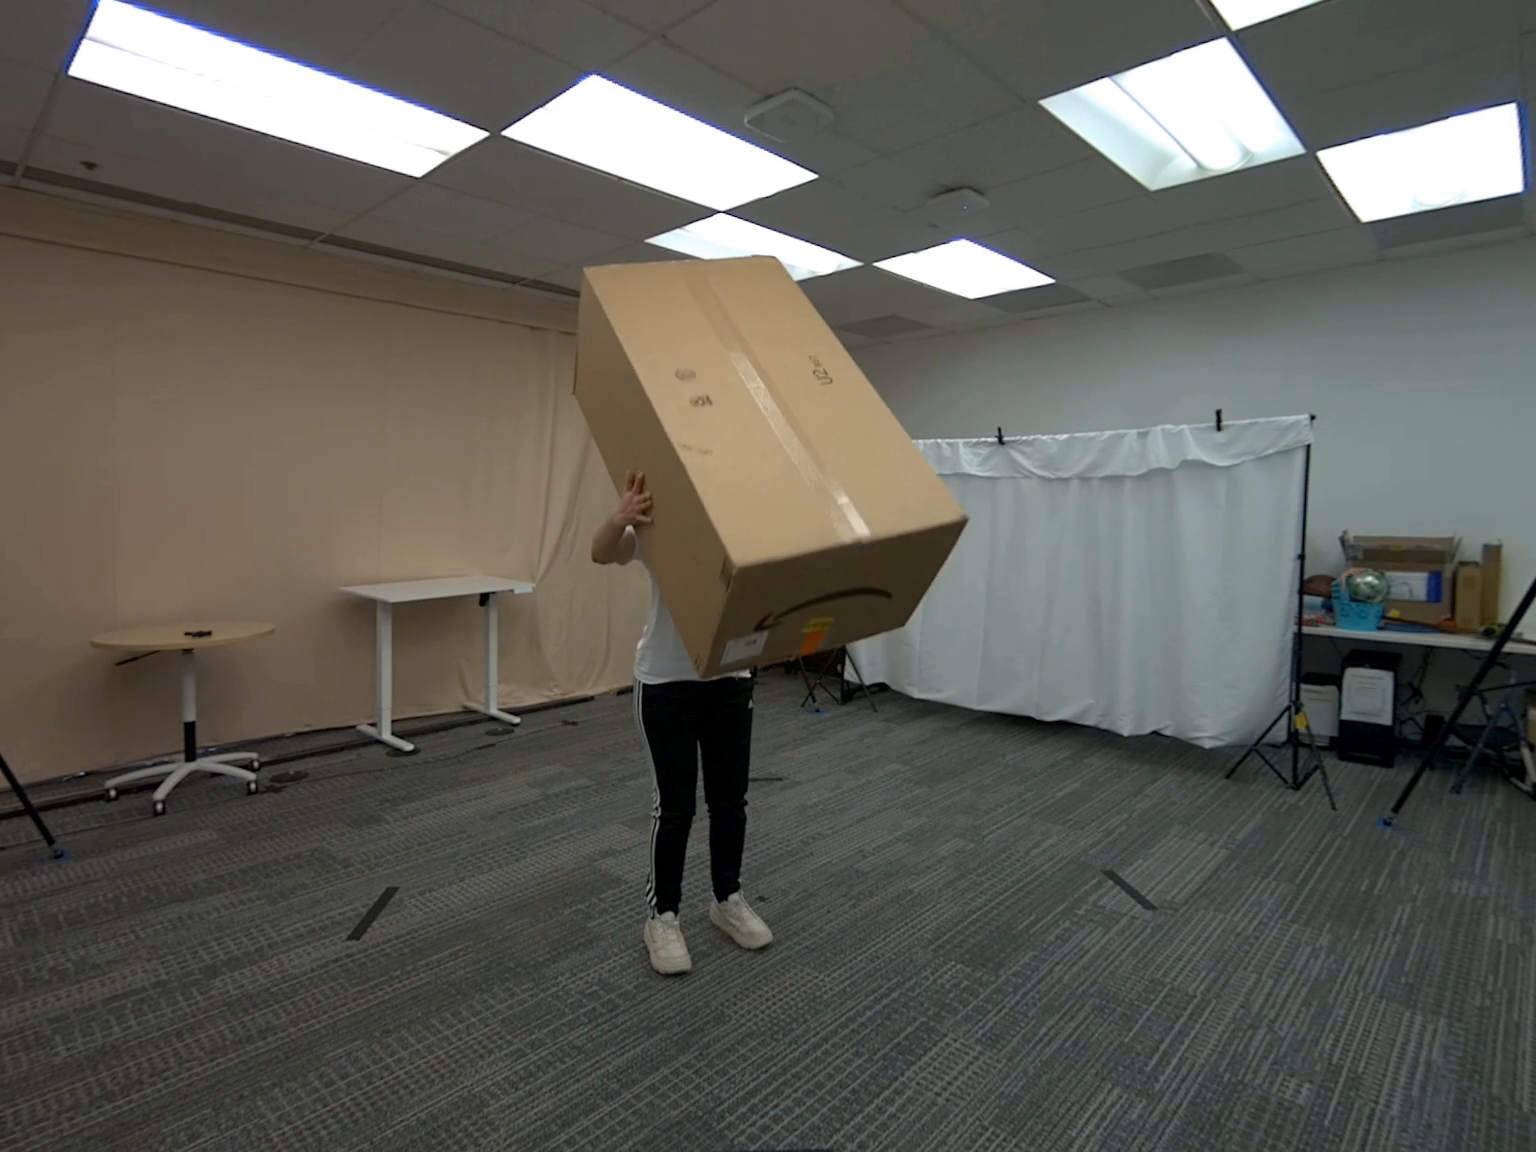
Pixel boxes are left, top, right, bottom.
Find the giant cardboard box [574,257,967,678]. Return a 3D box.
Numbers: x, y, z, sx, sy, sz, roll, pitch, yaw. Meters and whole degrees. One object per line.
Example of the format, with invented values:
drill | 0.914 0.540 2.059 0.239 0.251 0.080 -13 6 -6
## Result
giant cardboard box | -0.061 -0.321 2.156 0.571 1.056 0.444 -11 -35 -26
